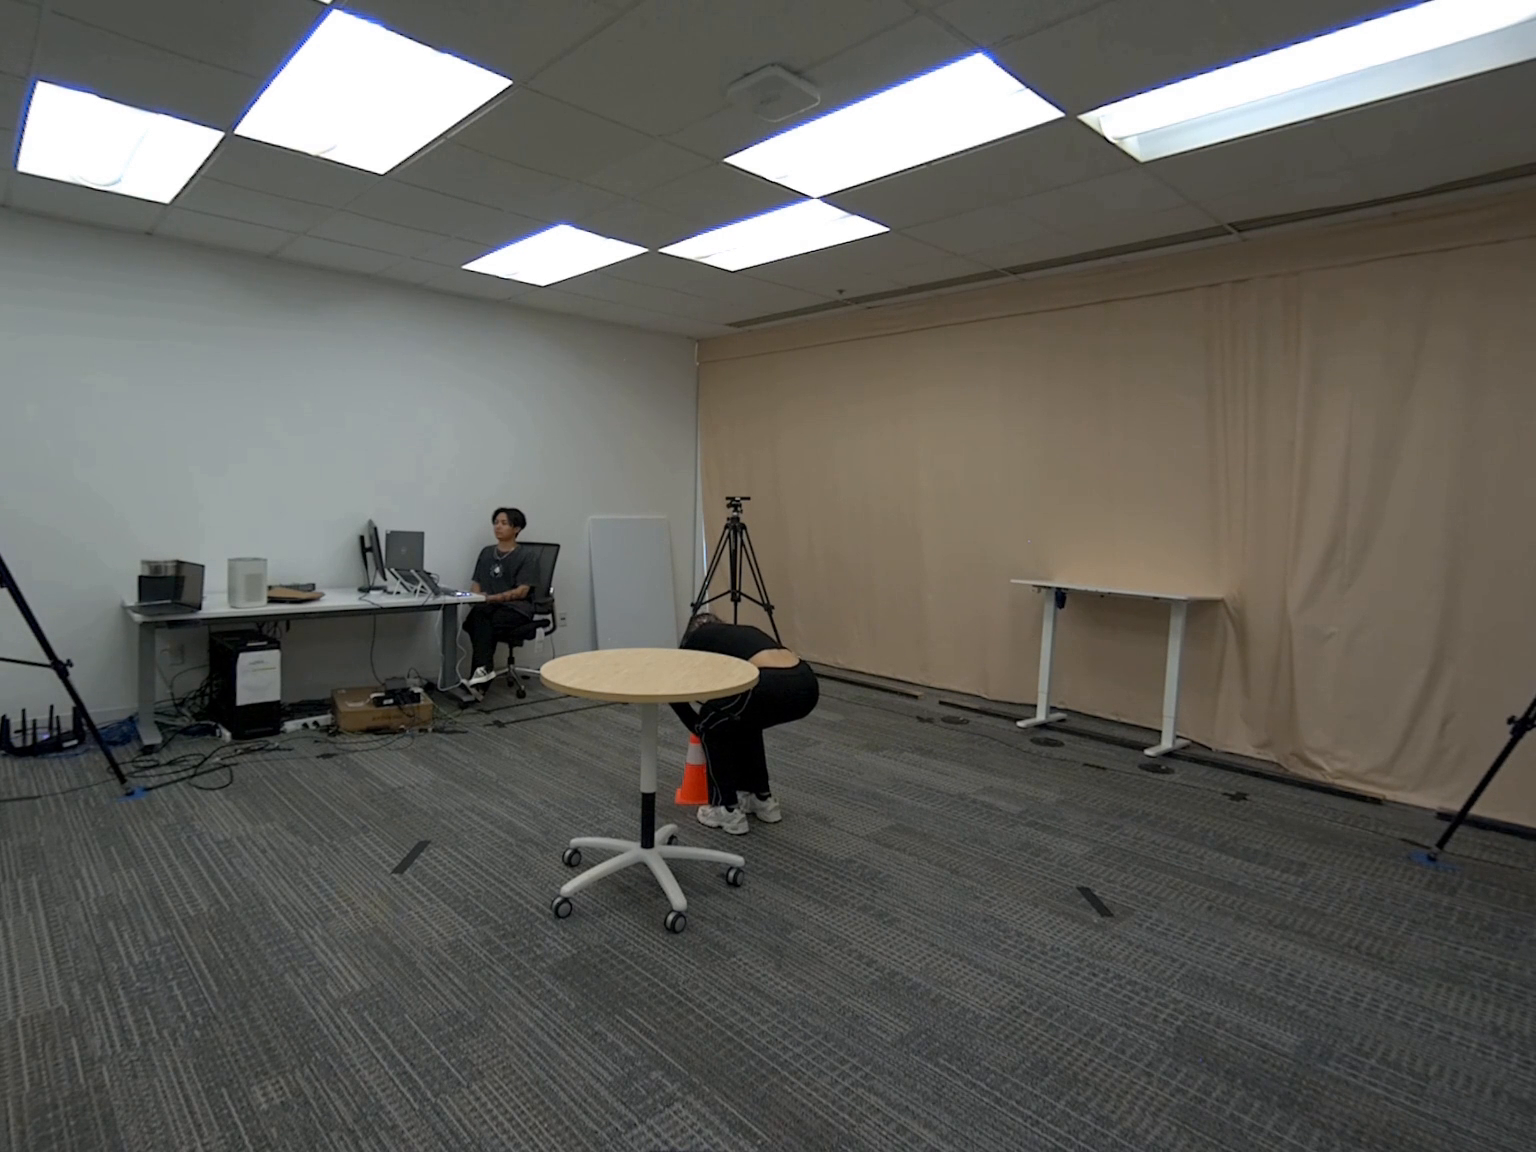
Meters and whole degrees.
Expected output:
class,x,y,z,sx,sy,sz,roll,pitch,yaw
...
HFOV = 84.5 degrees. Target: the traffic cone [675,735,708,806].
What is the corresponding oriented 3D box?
class,x,y,z,sx,sy,sz,roll,pitch,yaw
traffic cone,-0.345,0.850,3.921,0.204,0.382,0.205,-1,5,4
